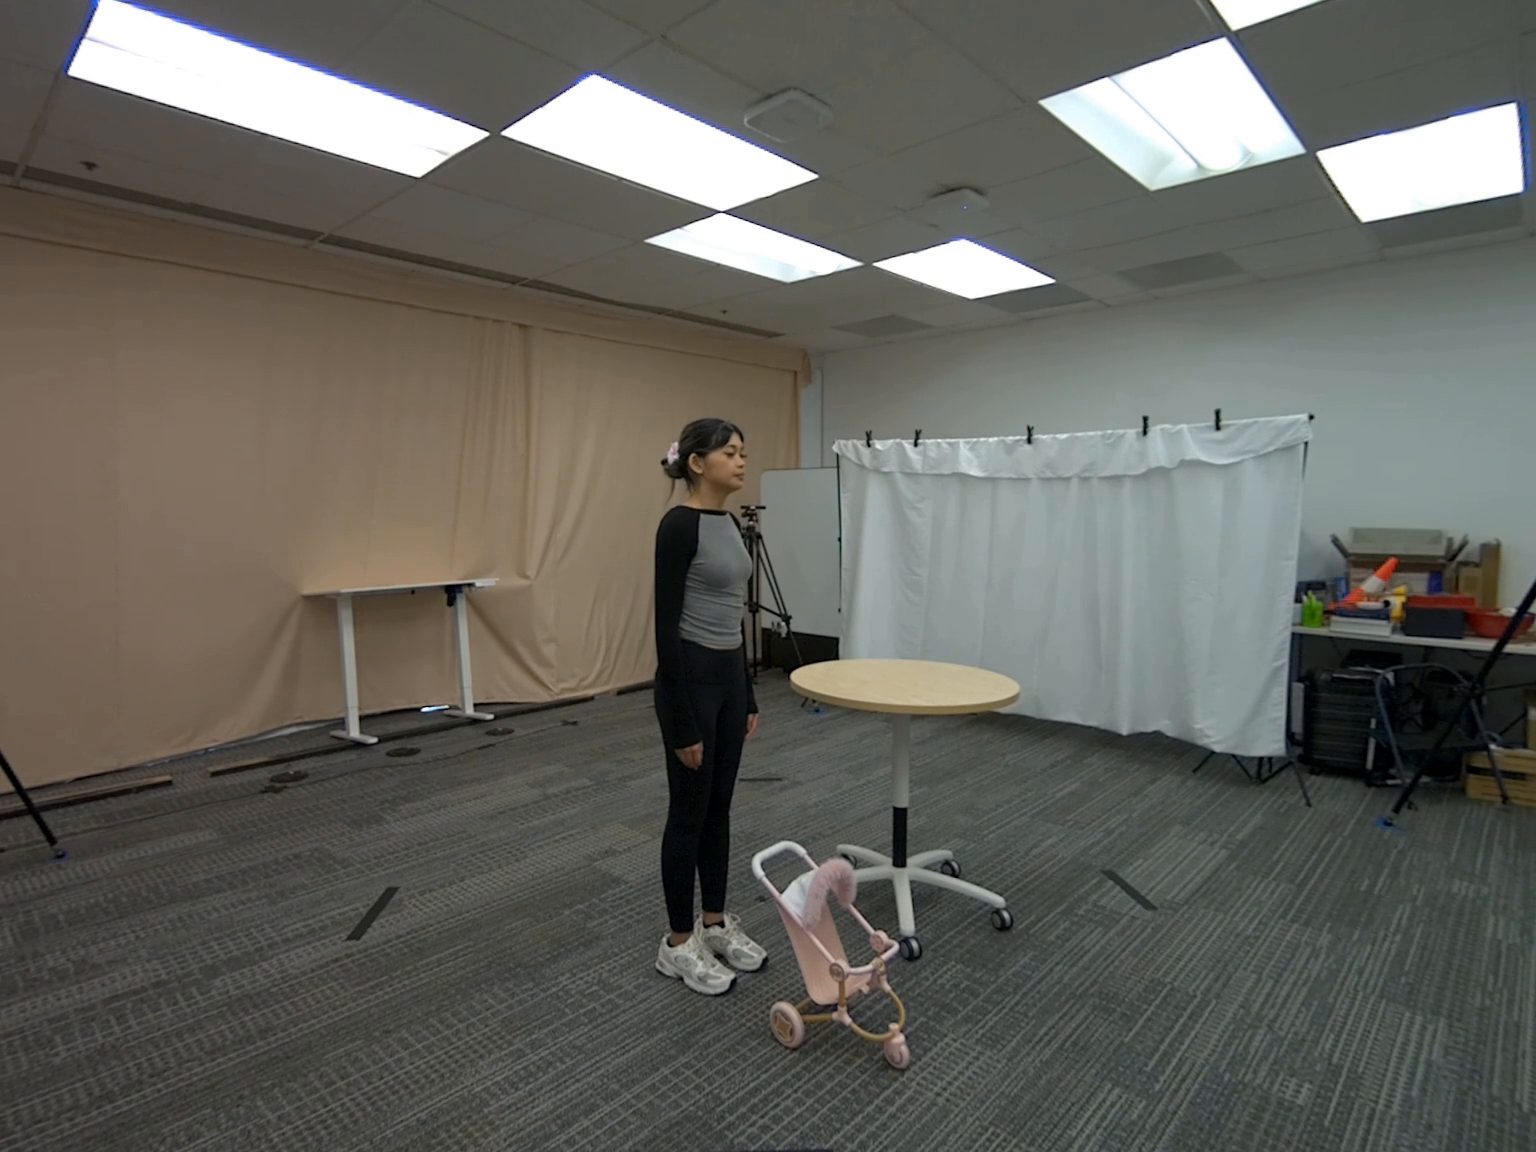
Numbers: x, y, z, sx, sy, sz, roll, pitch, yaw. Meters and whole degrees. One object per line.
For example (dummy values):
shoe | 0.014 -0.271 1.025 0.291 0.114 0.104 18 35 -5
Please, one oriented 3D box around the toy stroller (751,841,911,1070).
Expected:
toy stroller | 0.182 0.985 2.204 0.273 0.538 0.350 -3 -10 -44
